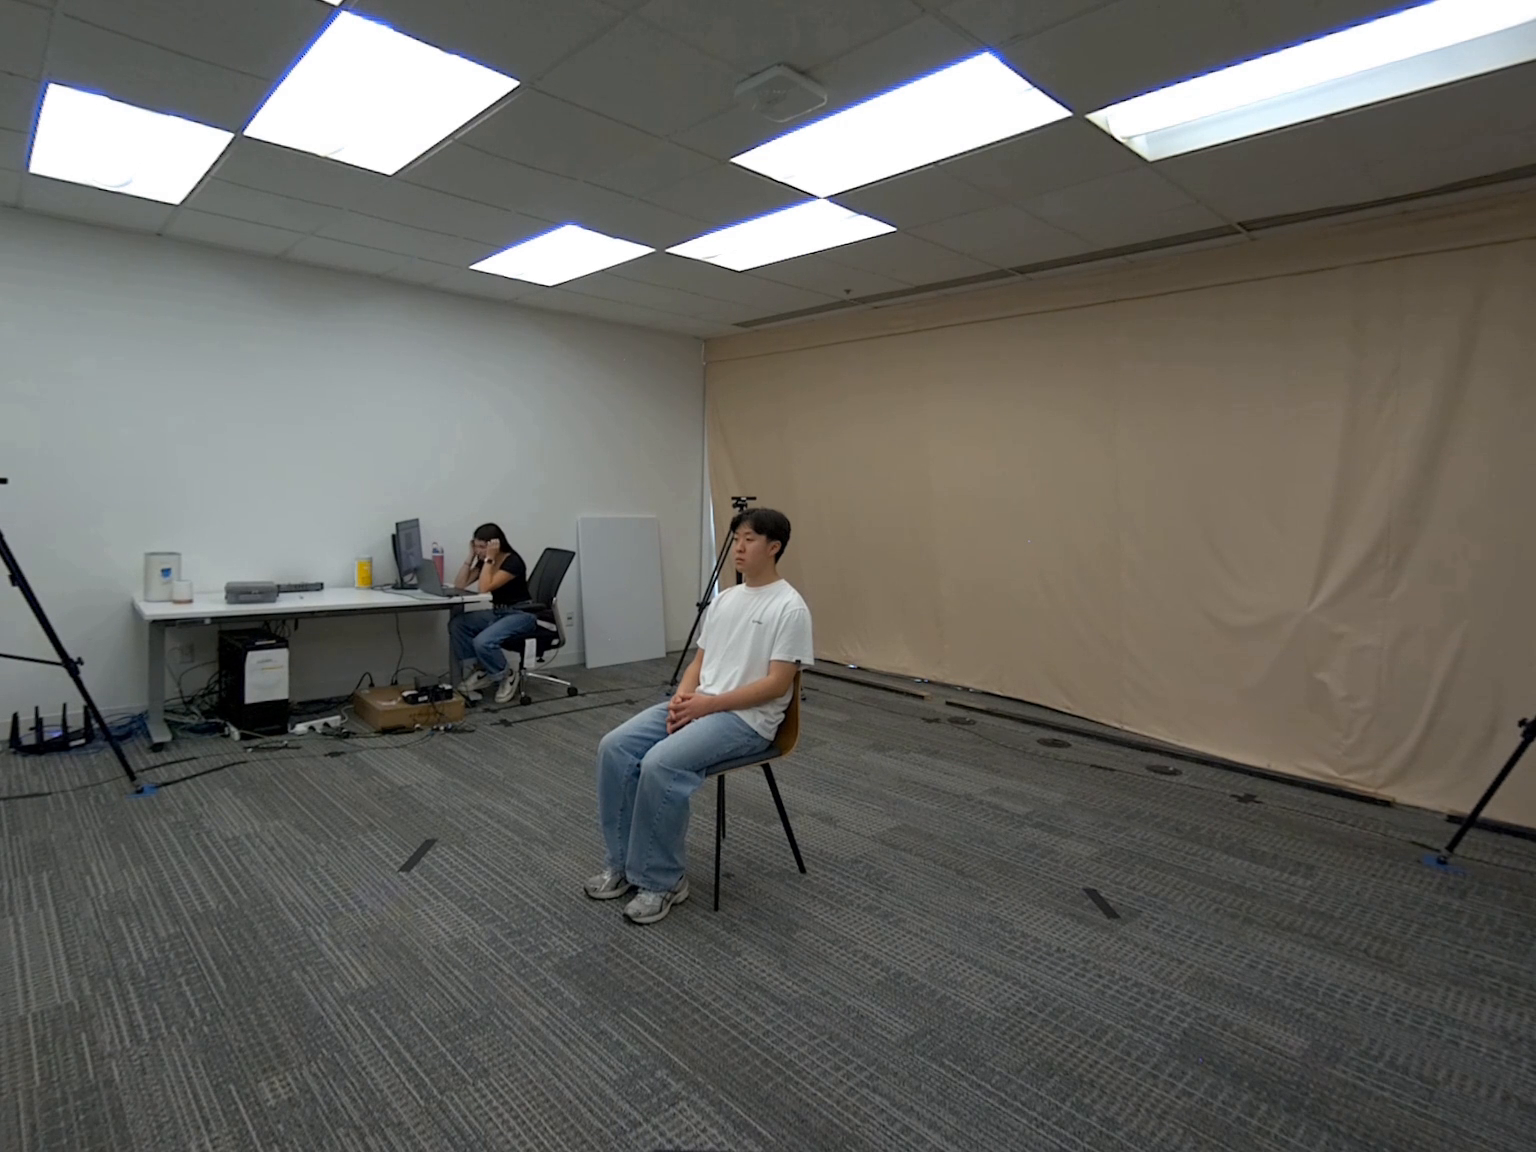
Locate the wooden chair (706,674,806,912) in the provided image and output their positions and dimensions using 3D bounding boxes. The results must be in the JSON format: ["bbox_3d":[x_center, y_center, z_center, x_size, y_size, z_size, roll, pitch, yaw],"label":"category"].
[{"bbox_3d":[-0.173,0.677,3.119,0.510,0.878,0.490,5,-1,-45],"label":"wooden chair"}]
